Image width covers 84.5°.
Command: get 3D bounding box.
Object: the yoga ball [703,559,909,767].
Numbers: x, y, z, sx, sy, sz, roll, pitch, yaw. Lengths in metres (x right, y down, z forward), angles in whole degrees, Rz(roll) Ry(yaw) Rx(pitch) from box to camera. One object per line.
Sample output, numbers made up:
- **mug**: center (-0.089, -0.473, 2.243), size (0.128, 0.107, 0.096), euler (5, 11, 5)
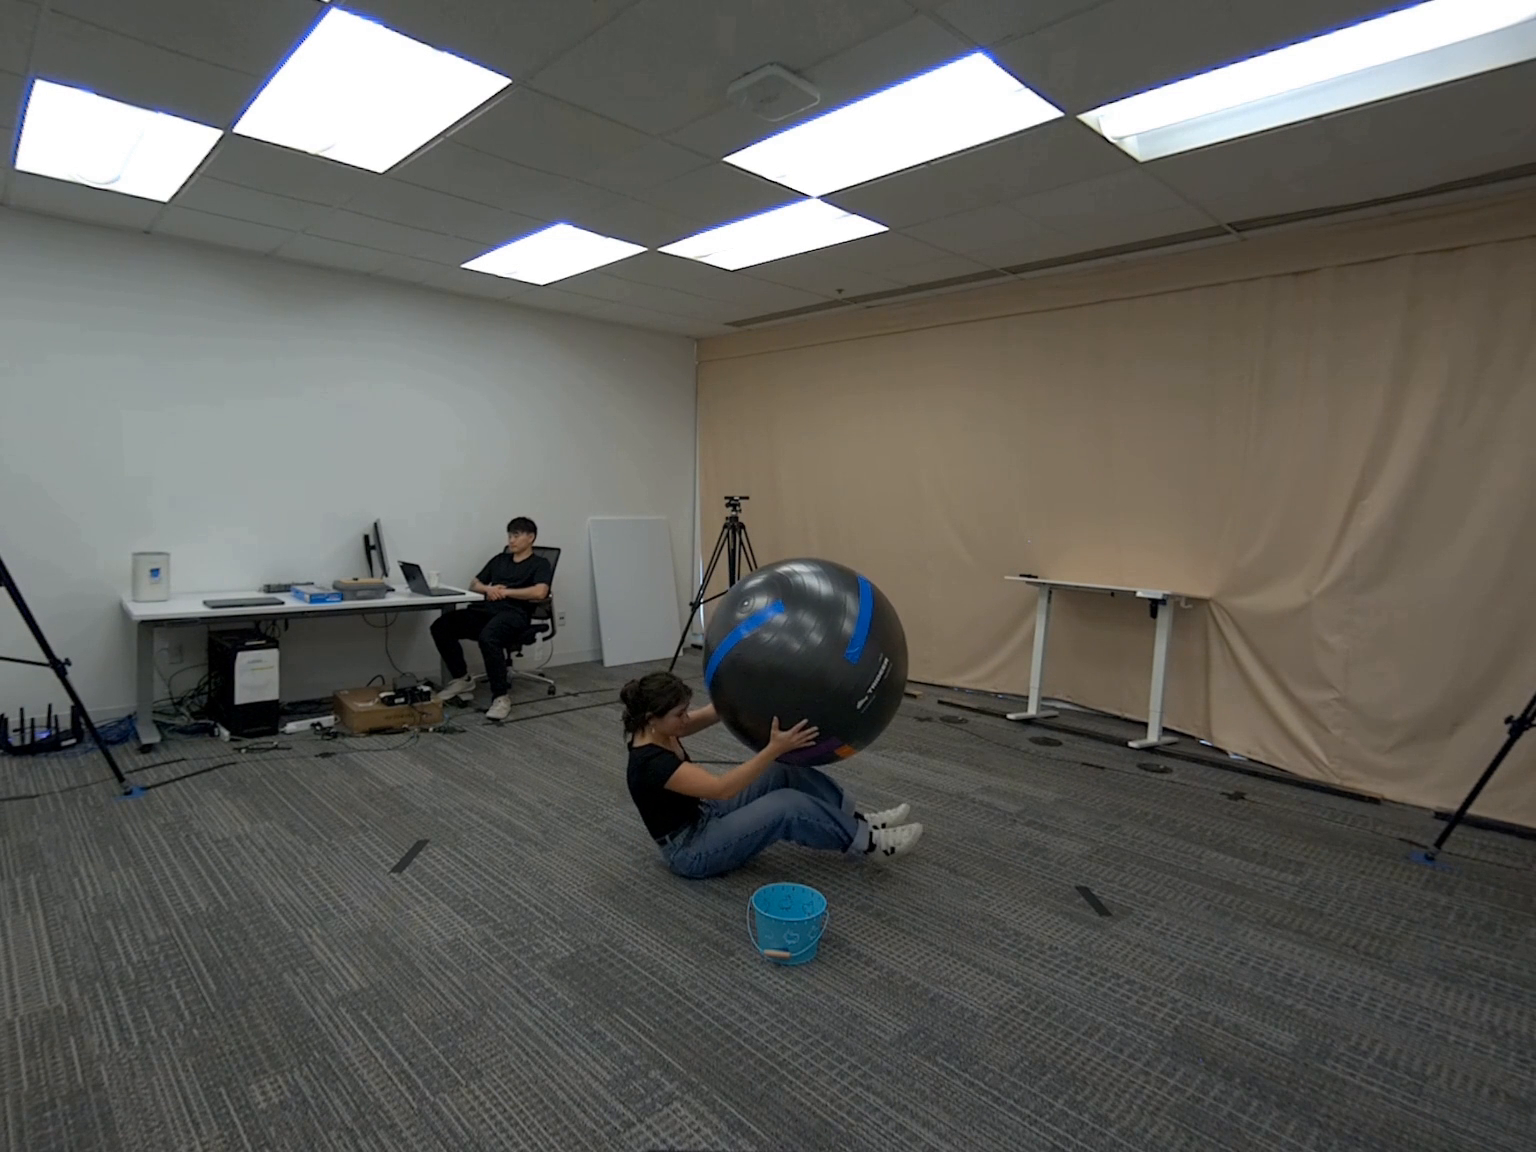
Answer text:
- **yoga ball**: center (0.138, 0.317, 3.105), size (0.757, 0.756, 0.761), euler (1, 4, -1)
